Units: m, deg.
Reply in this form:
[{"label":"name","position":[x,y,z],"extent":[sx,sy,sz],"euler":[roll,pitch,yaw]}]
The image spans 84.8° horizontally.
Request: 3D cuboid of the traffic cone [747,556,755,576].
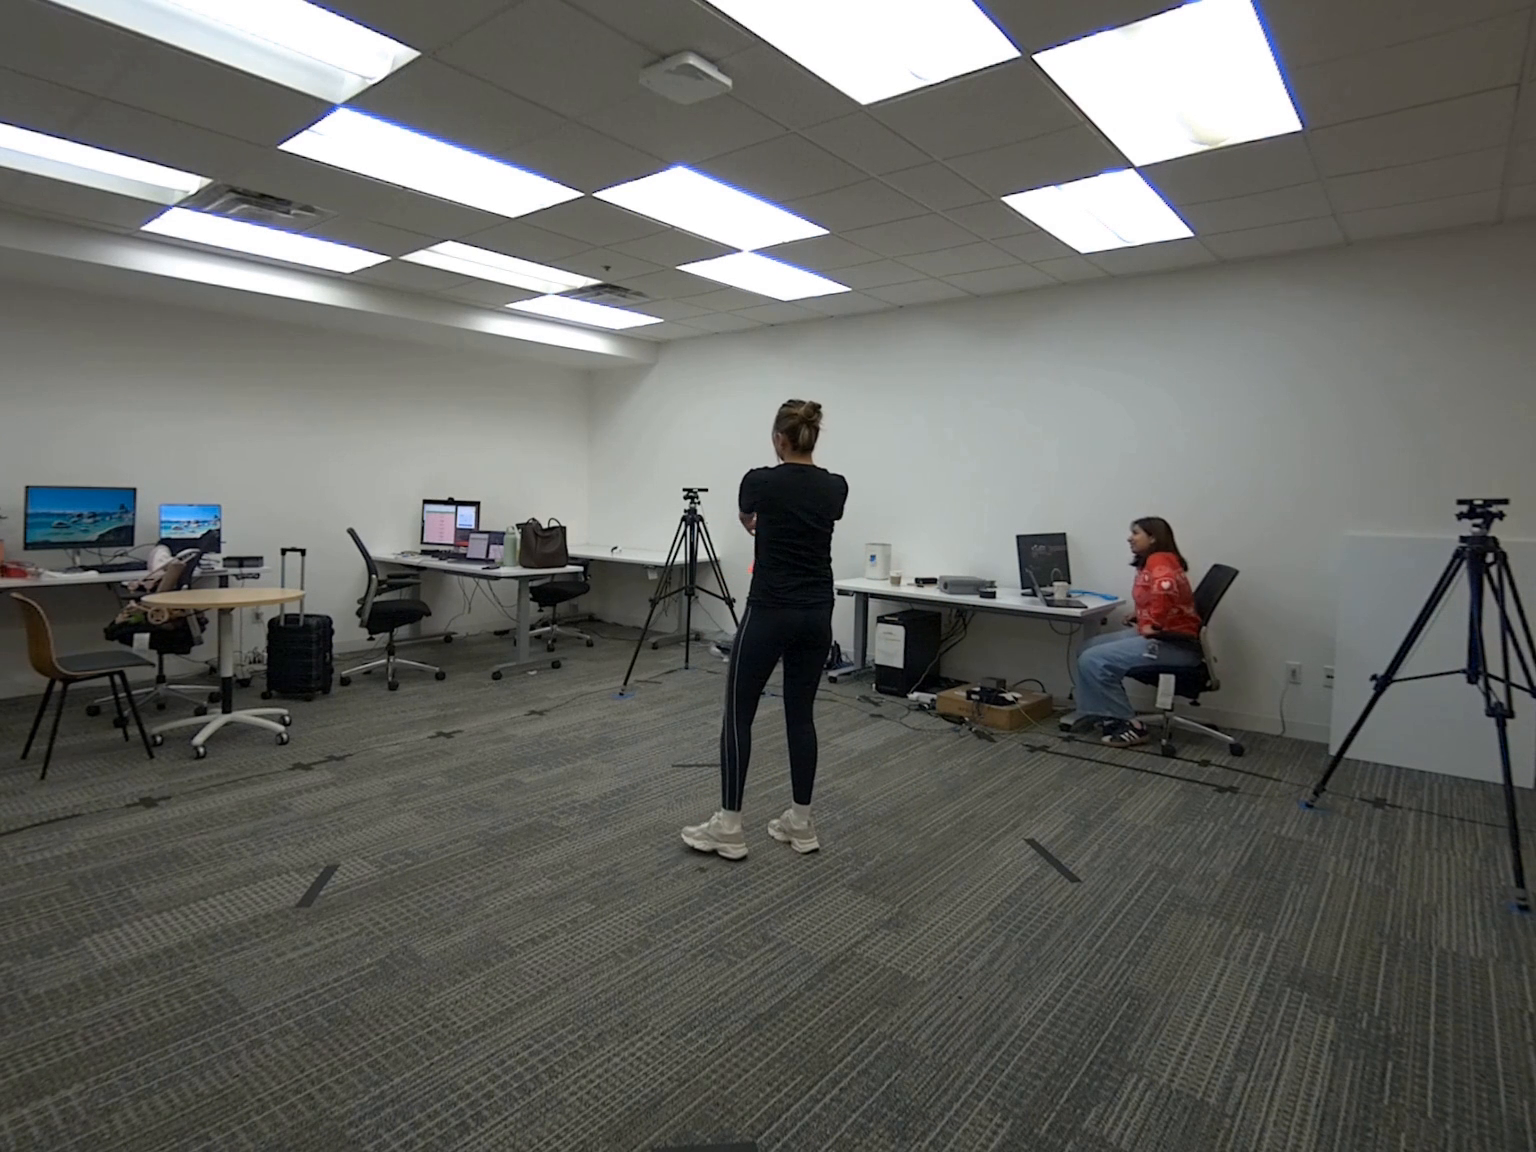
[{"label":"traffic cone","position":[-0.021,-0.239,3.910],"extent":[0.199,0.380,0.211],"euler":[-9,9,-24]}]
